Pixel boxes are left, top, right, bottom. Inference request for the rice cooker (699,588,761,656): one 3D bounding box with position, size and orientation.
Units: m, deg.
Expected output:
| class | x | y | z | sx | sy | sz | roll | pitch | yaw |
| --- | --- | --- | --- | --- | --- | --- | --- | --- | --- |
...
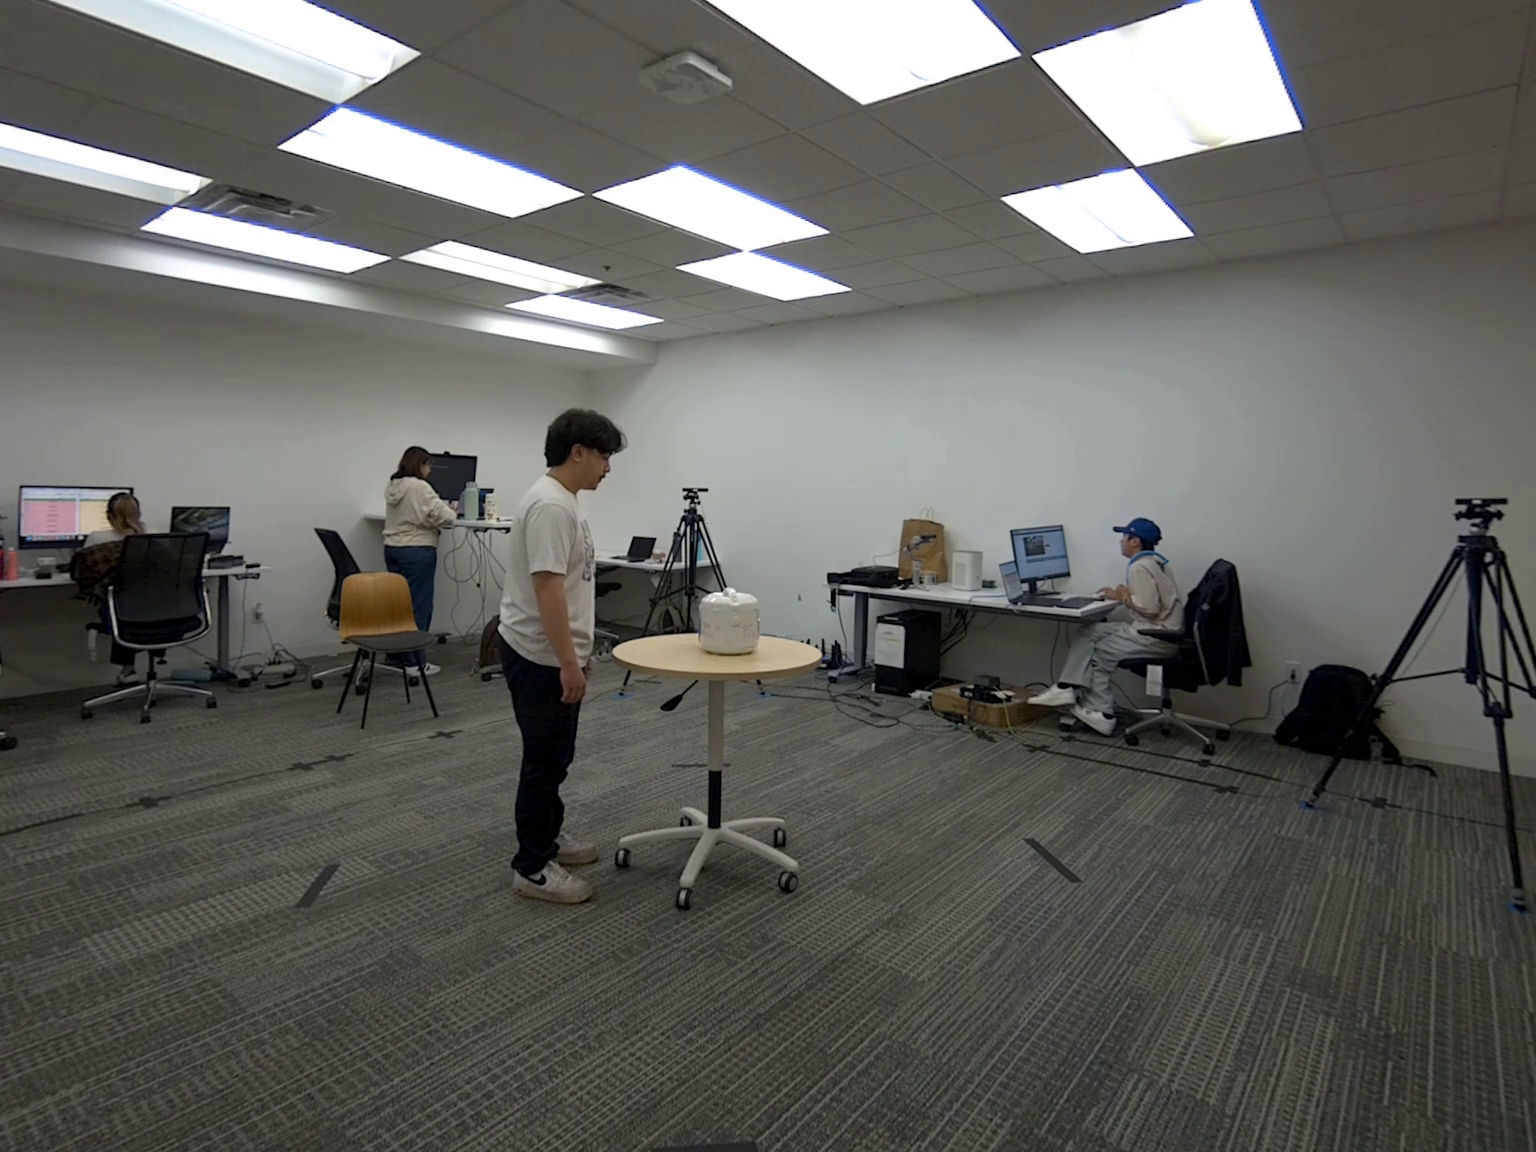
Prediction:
| class | x | y | z | sx | sy | sz | roll | pitch | yaw |
| --- | --- | --- | --- | --- | --- | --- | --- | --- | --- |
| rice cooker | -0.150 | 0.157 | 3.112 | 0.215 | 0.232 | 0.224 | 1 | 4 | -11 |
